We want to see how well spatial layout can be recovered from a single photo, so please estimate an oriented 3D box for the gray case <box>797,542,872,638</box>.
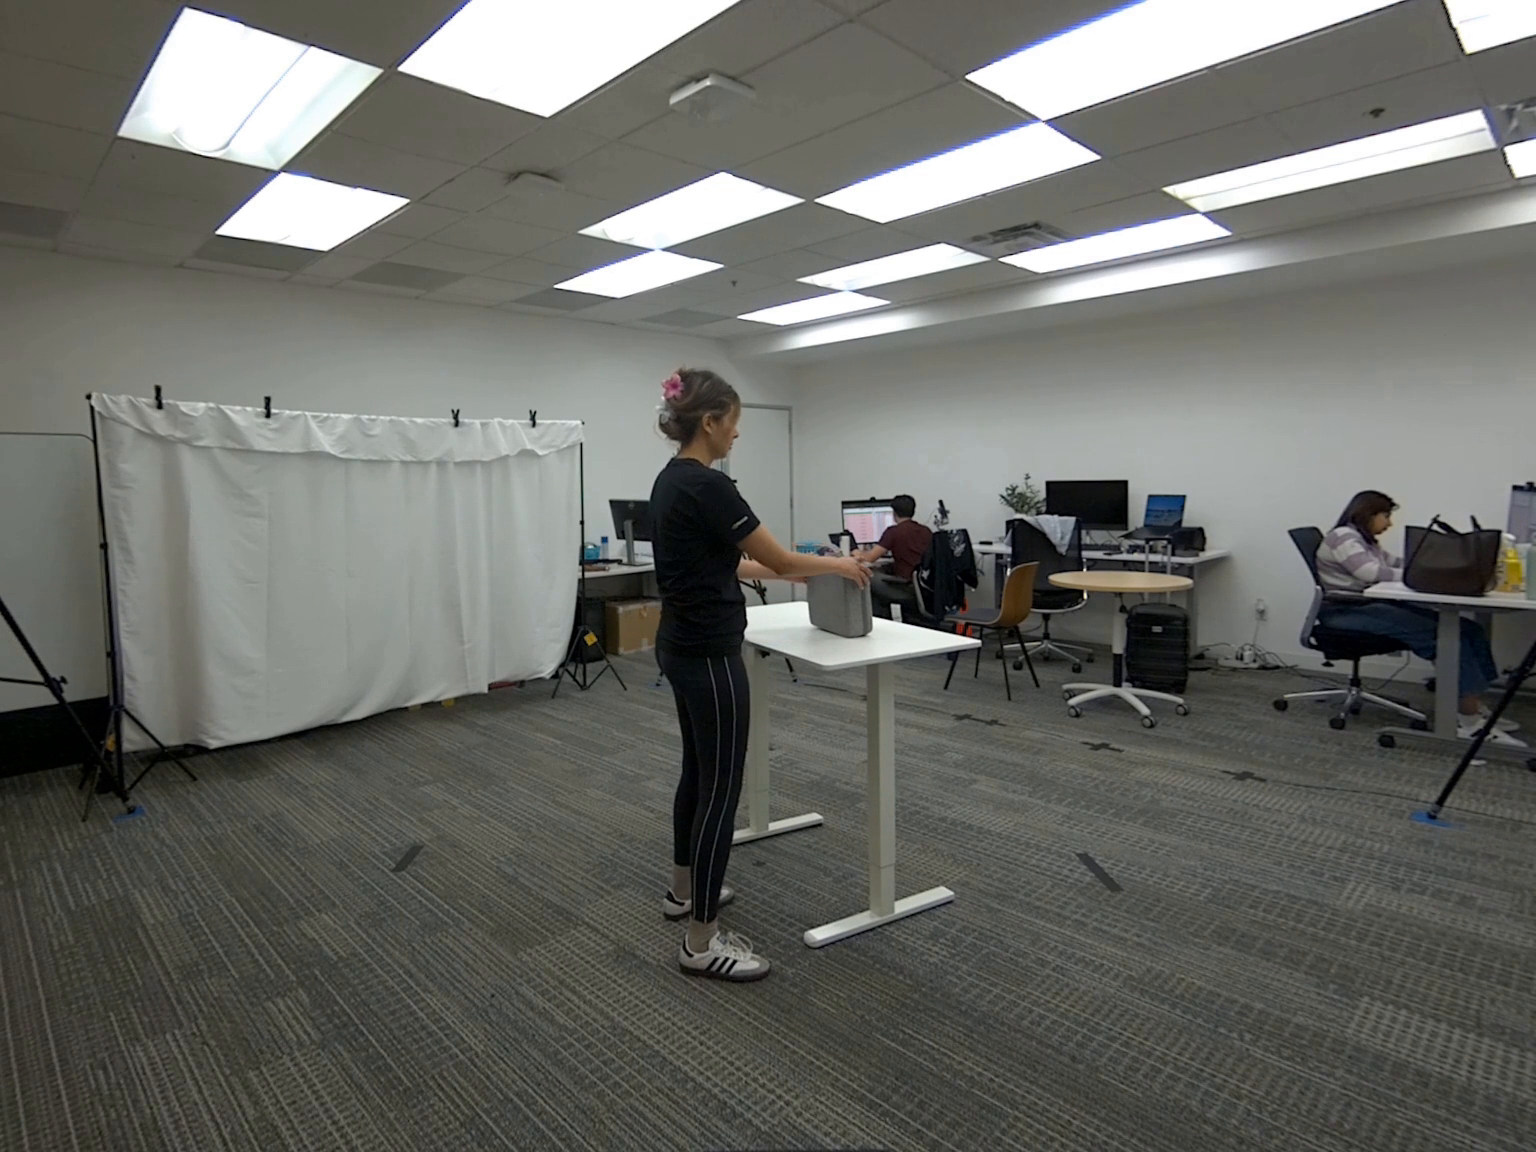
[{"bbox_3d":[0.241,0.061,2.847,0.102,0.258,0.264,-8,10,-24],"label":"gray case"}]
